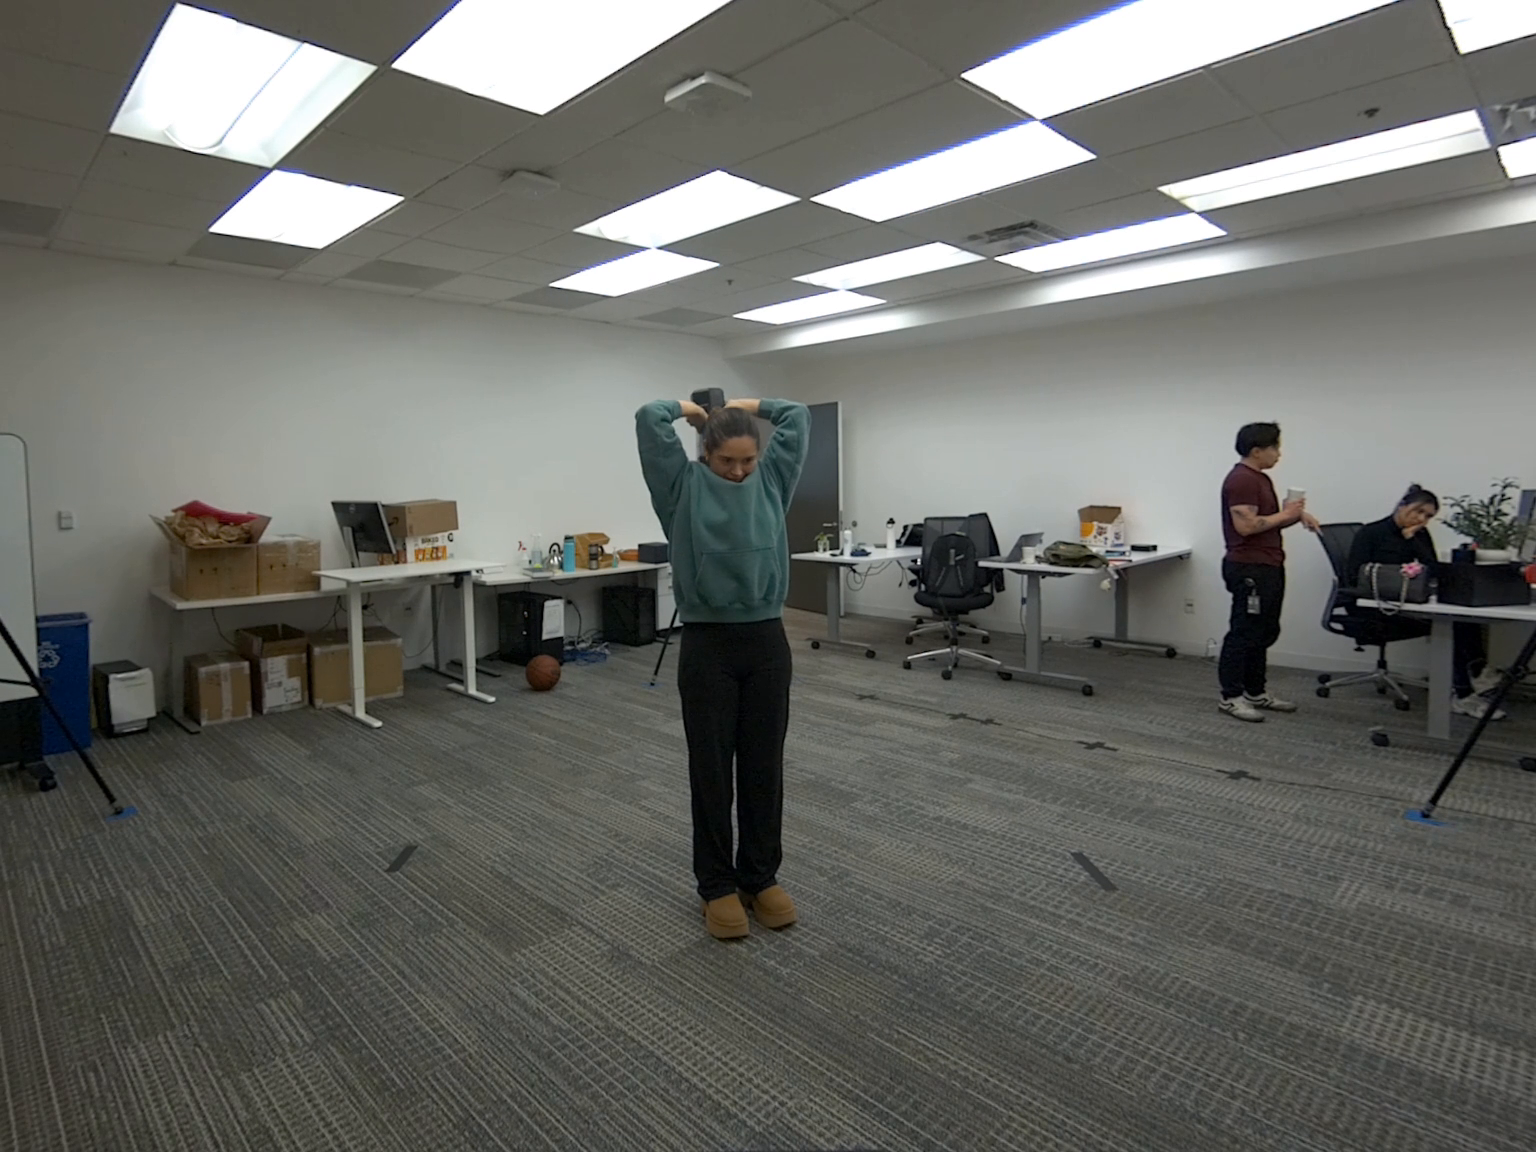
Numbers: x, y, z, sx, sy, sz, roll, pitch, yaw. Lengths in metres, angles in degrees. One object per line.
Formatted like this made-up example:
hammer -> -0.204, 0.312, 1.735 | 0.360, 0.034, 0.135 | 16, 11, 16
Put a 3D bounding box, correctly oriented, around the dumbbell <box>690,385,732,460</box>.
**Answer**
dumbbell -> -0.185, -0.481, 2.862 | 0.107, 0.293, 0.125 | -4, 1, -17
